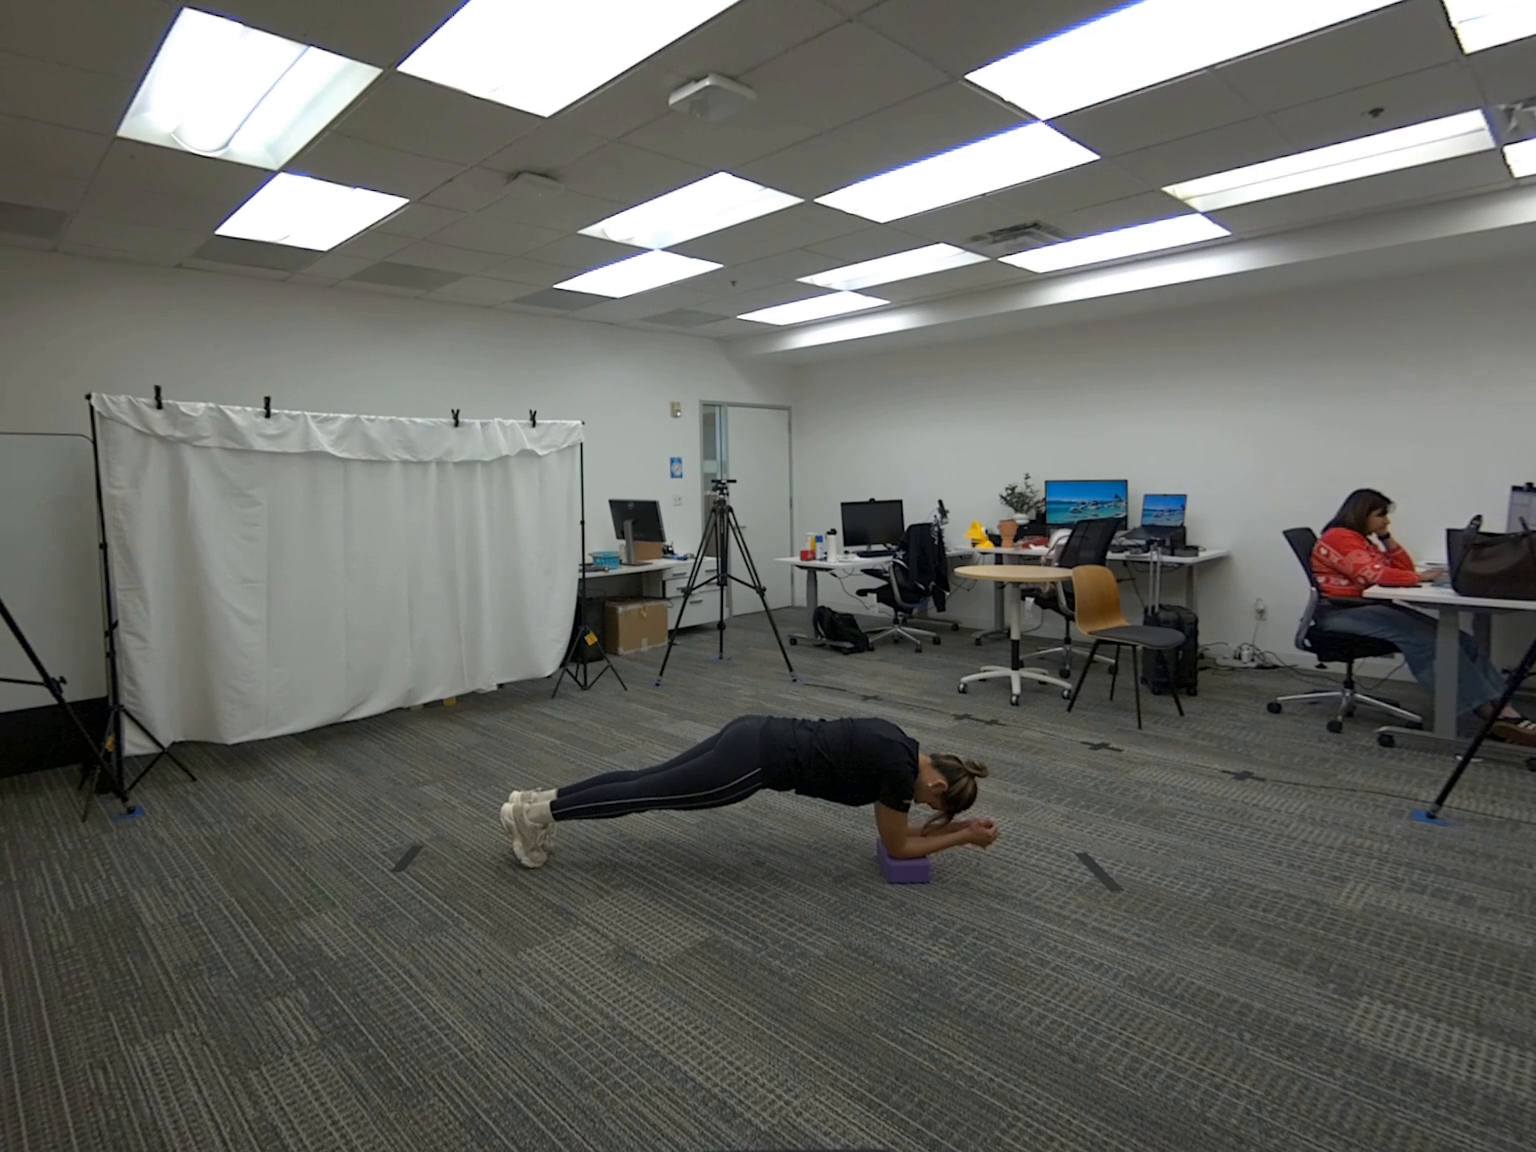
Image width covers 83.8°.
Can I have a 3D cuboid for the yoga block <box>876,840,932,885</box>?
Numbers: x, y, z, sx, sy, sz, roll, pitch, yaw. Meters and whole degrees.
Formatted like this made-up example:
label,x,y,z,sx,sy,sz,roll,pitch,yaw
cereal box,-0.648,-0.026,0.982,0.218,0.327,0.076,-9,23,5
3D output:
label,x,y,z,sx,sy,sz,roll,pitch,yaw
yoga block,0.478,0.999,3.039,0.149,0.076,0.230,0,6,0
